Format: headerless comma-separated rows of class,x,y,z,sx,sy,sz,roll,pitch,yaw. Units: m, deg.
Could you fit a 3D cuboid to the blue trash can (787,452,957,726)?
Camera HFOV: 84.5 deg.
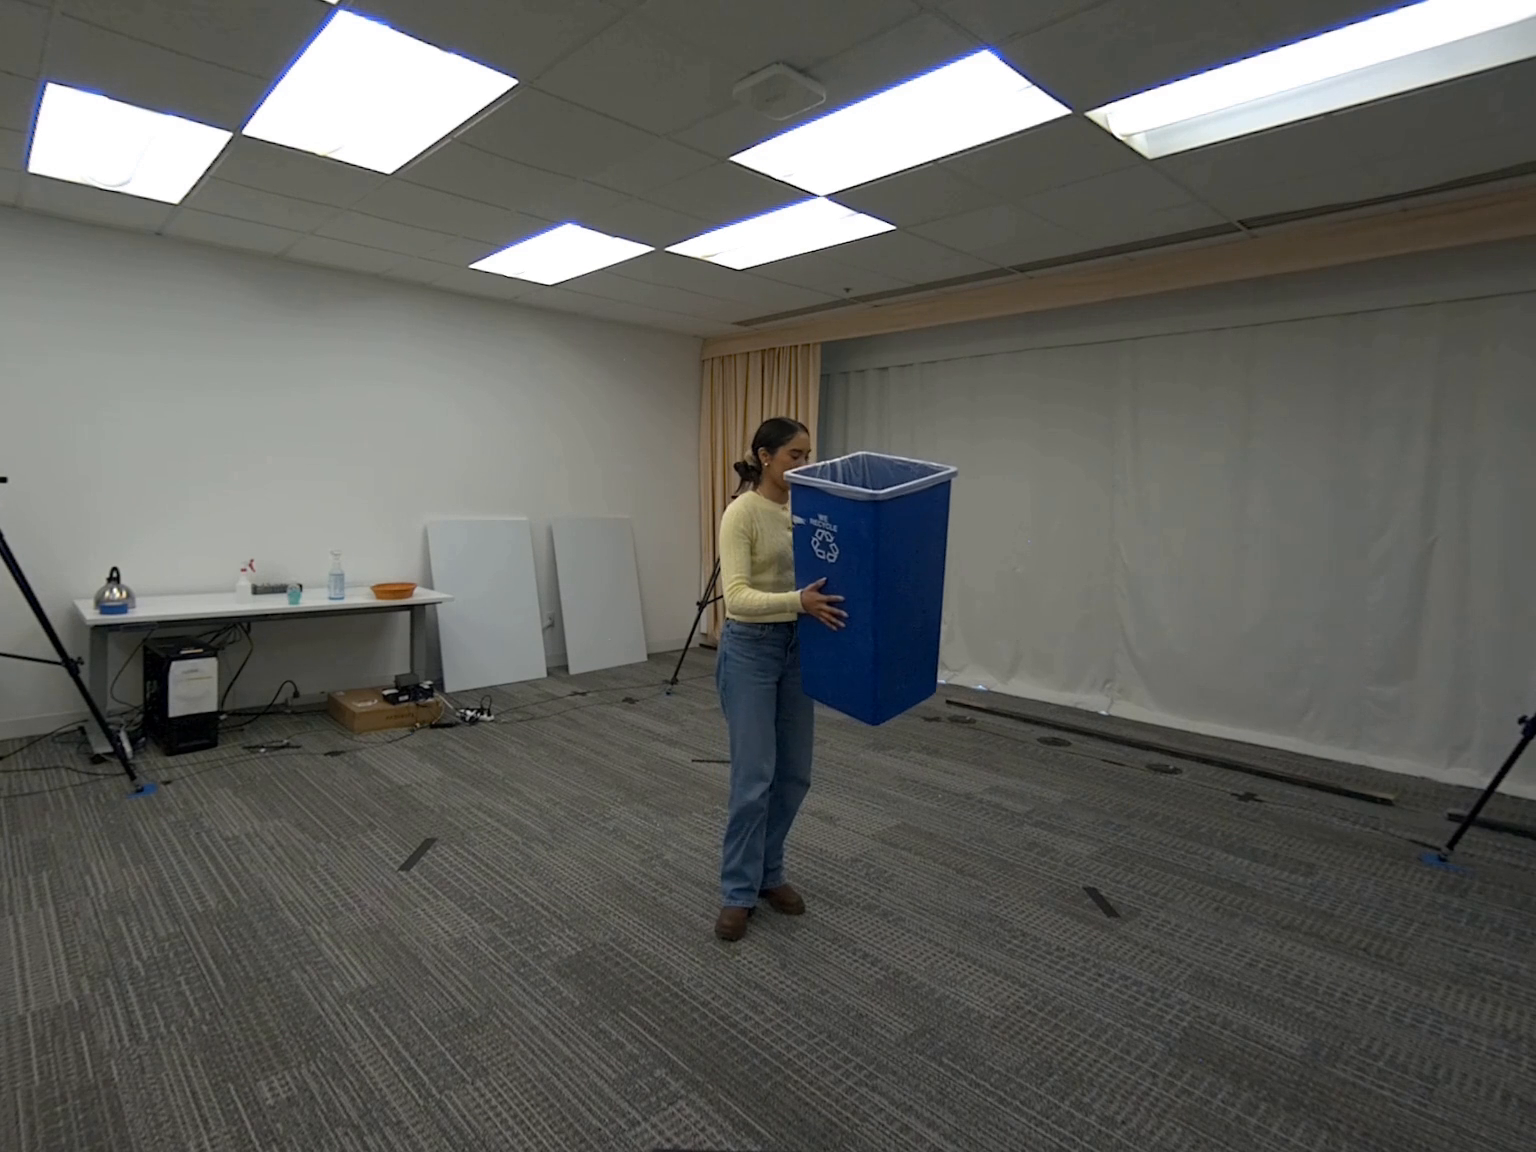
blue trash can,0.299,0.029,2.508,0.372,0.704,0.385,-18,24,-39
